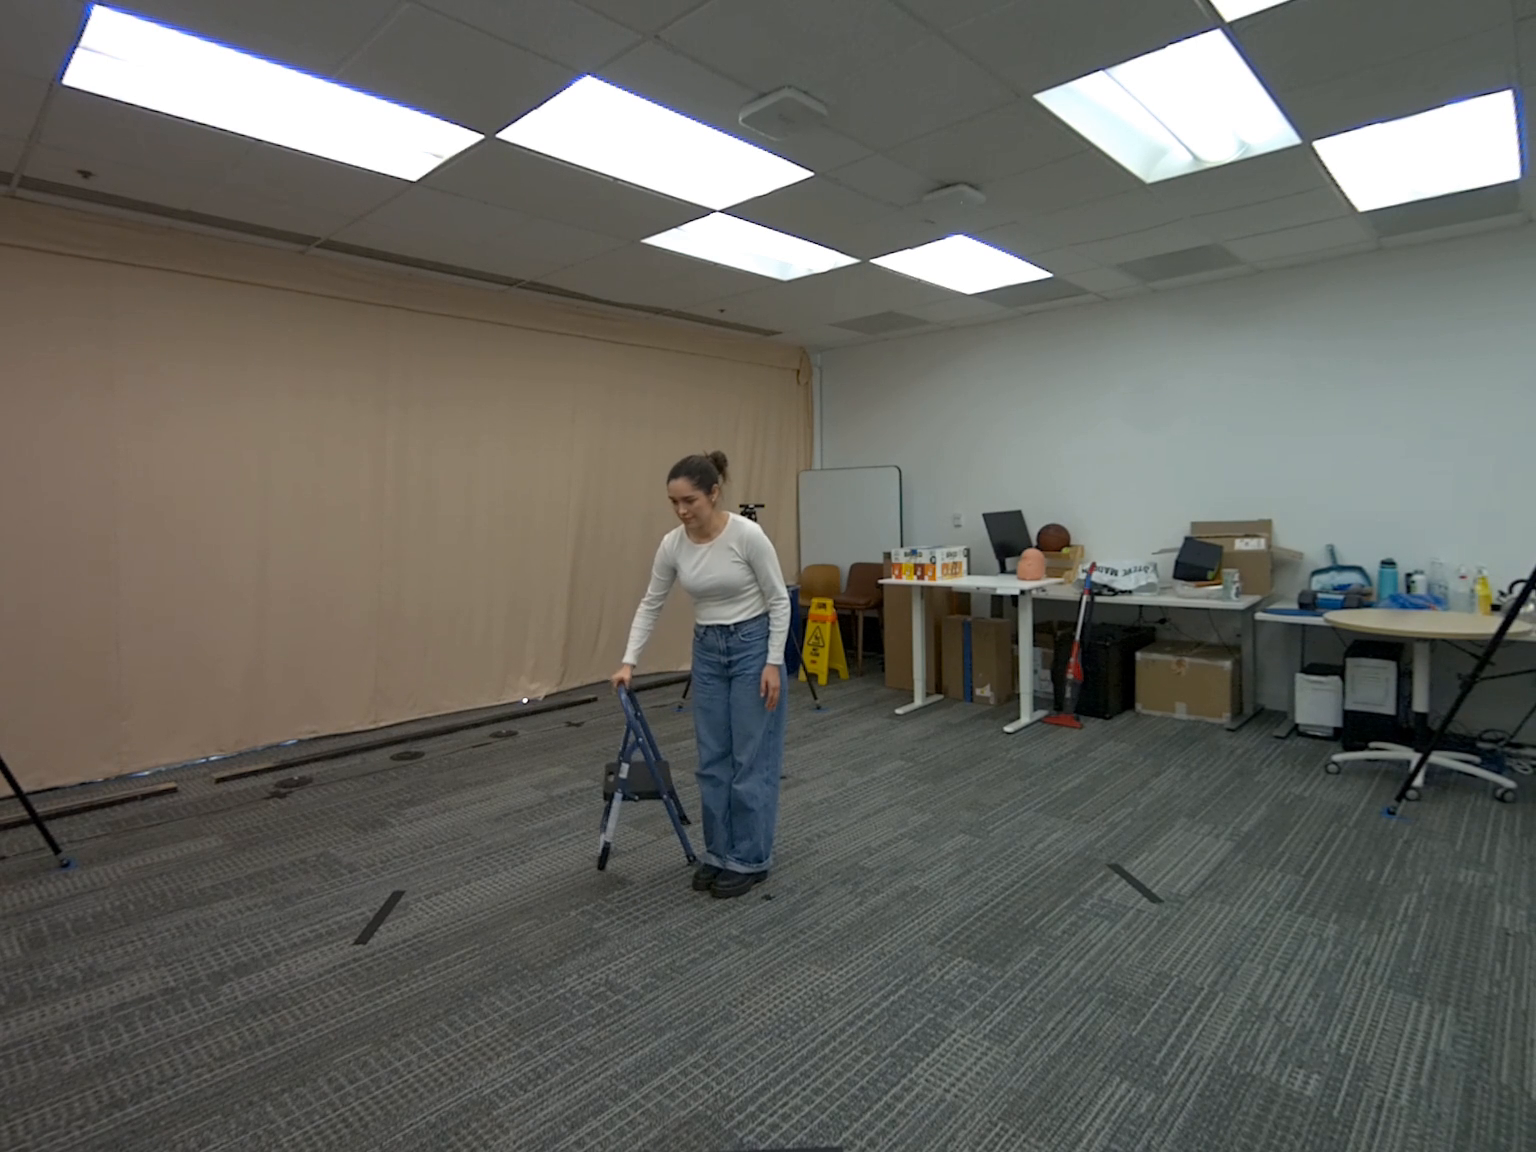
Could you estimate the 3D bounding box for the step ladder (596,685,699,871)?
[{"bbox_3d":[-0.449,0.676,3.045,0.346,0.606,0.435,0,1,-9],"label":"step ladder"}]
